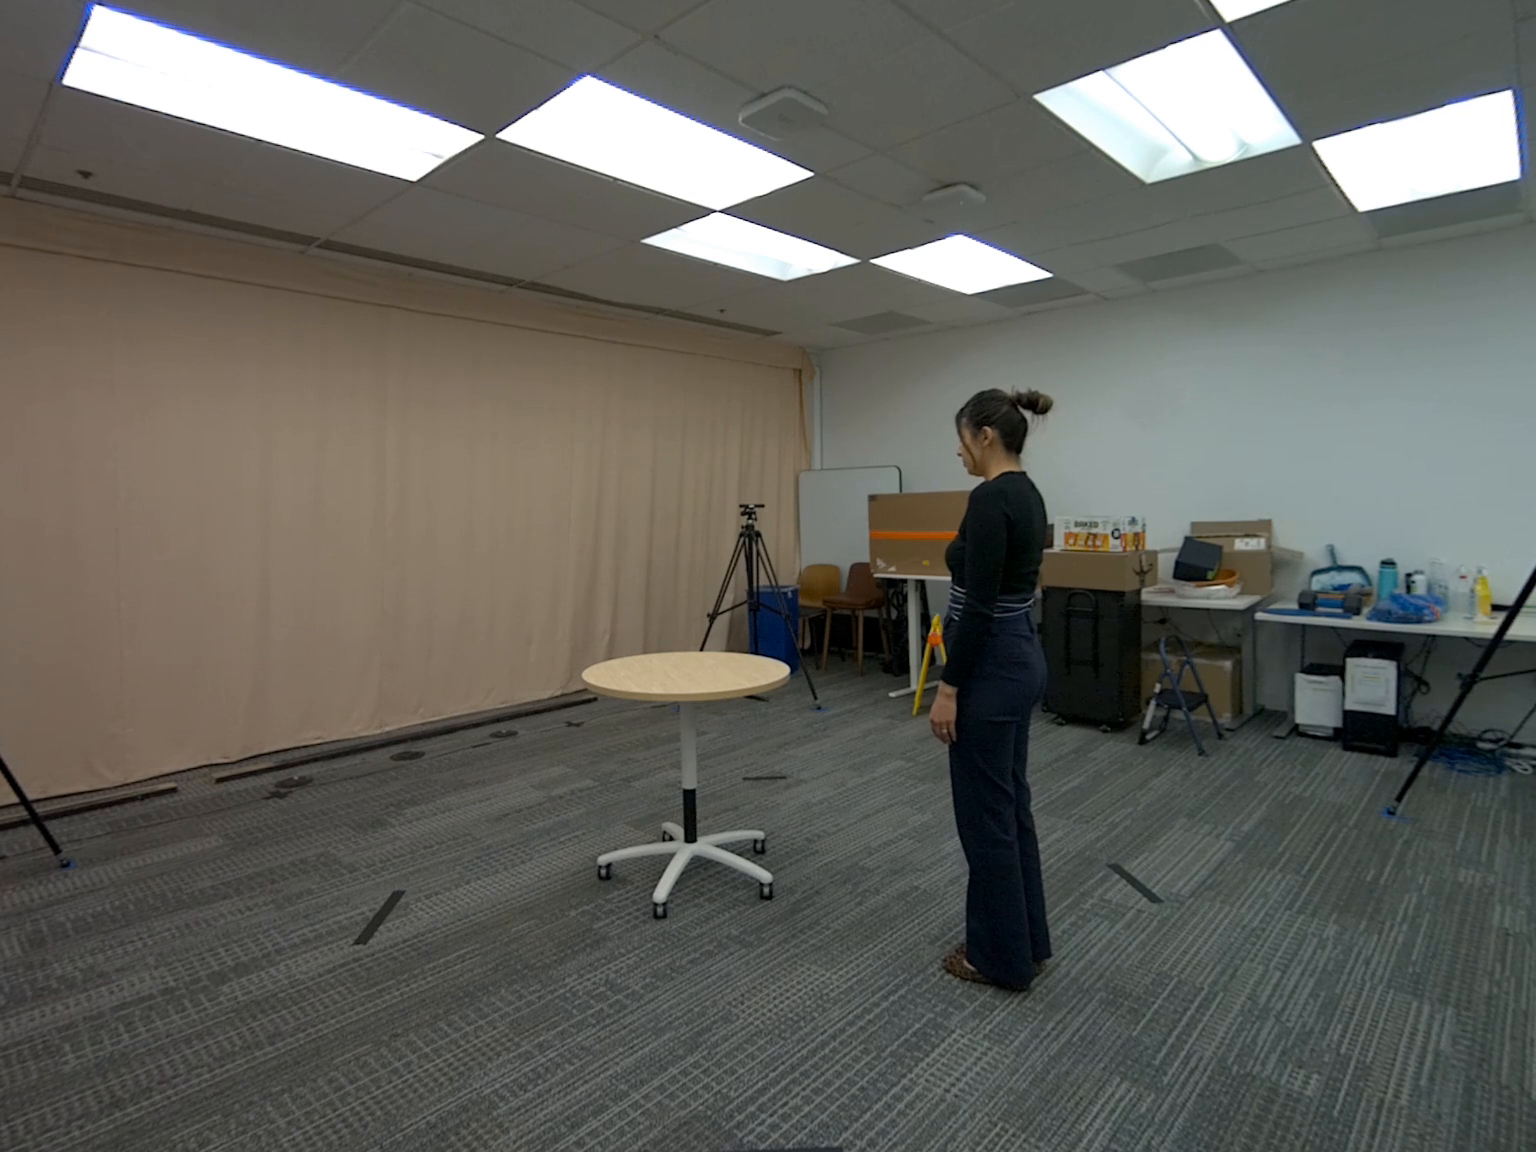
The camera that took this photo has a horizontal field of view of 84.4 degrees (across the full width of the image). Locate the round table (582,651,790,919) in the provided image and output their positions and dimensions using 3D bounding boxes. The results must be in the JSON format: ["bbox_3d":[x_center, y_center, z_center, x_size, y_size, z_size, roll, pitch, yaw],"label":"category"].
[{"bbox_3d":[-0.287,0.744,3.131,0.763,0.792,0.767,-2,4,-2],"label":"round table"}]
